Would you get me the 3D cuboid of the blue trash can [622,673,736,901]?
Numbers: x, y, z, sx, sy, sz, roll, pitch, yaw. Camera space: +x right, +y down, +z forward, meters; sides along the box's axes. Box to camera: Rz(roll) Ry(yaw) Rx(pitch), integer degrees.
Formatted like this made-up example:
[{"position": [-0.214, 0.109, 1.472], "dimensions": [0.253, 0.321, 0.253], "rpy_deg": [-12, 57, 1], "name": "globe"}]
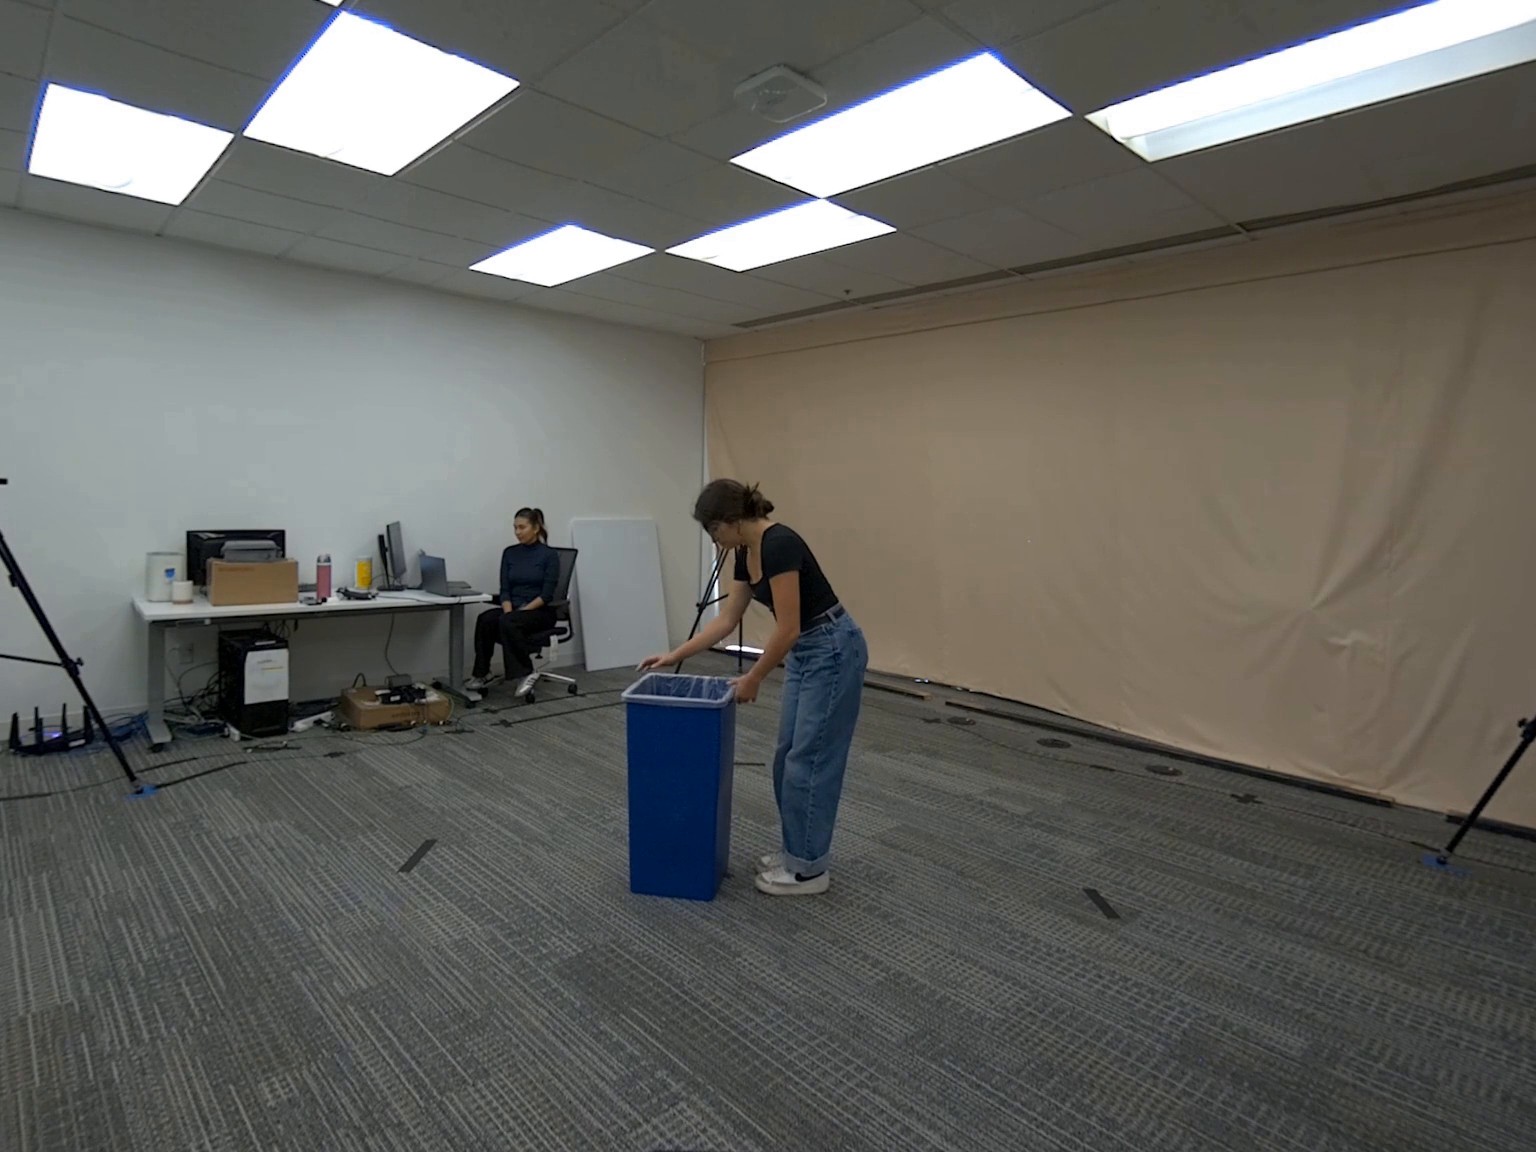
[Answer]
[{"position": [-0.312, 0.751, 3.040], "dimensions": [0.381, 0.712, 0.372], "rpy_deg": [1, 3, 9], "name": "blue trash can"}]
